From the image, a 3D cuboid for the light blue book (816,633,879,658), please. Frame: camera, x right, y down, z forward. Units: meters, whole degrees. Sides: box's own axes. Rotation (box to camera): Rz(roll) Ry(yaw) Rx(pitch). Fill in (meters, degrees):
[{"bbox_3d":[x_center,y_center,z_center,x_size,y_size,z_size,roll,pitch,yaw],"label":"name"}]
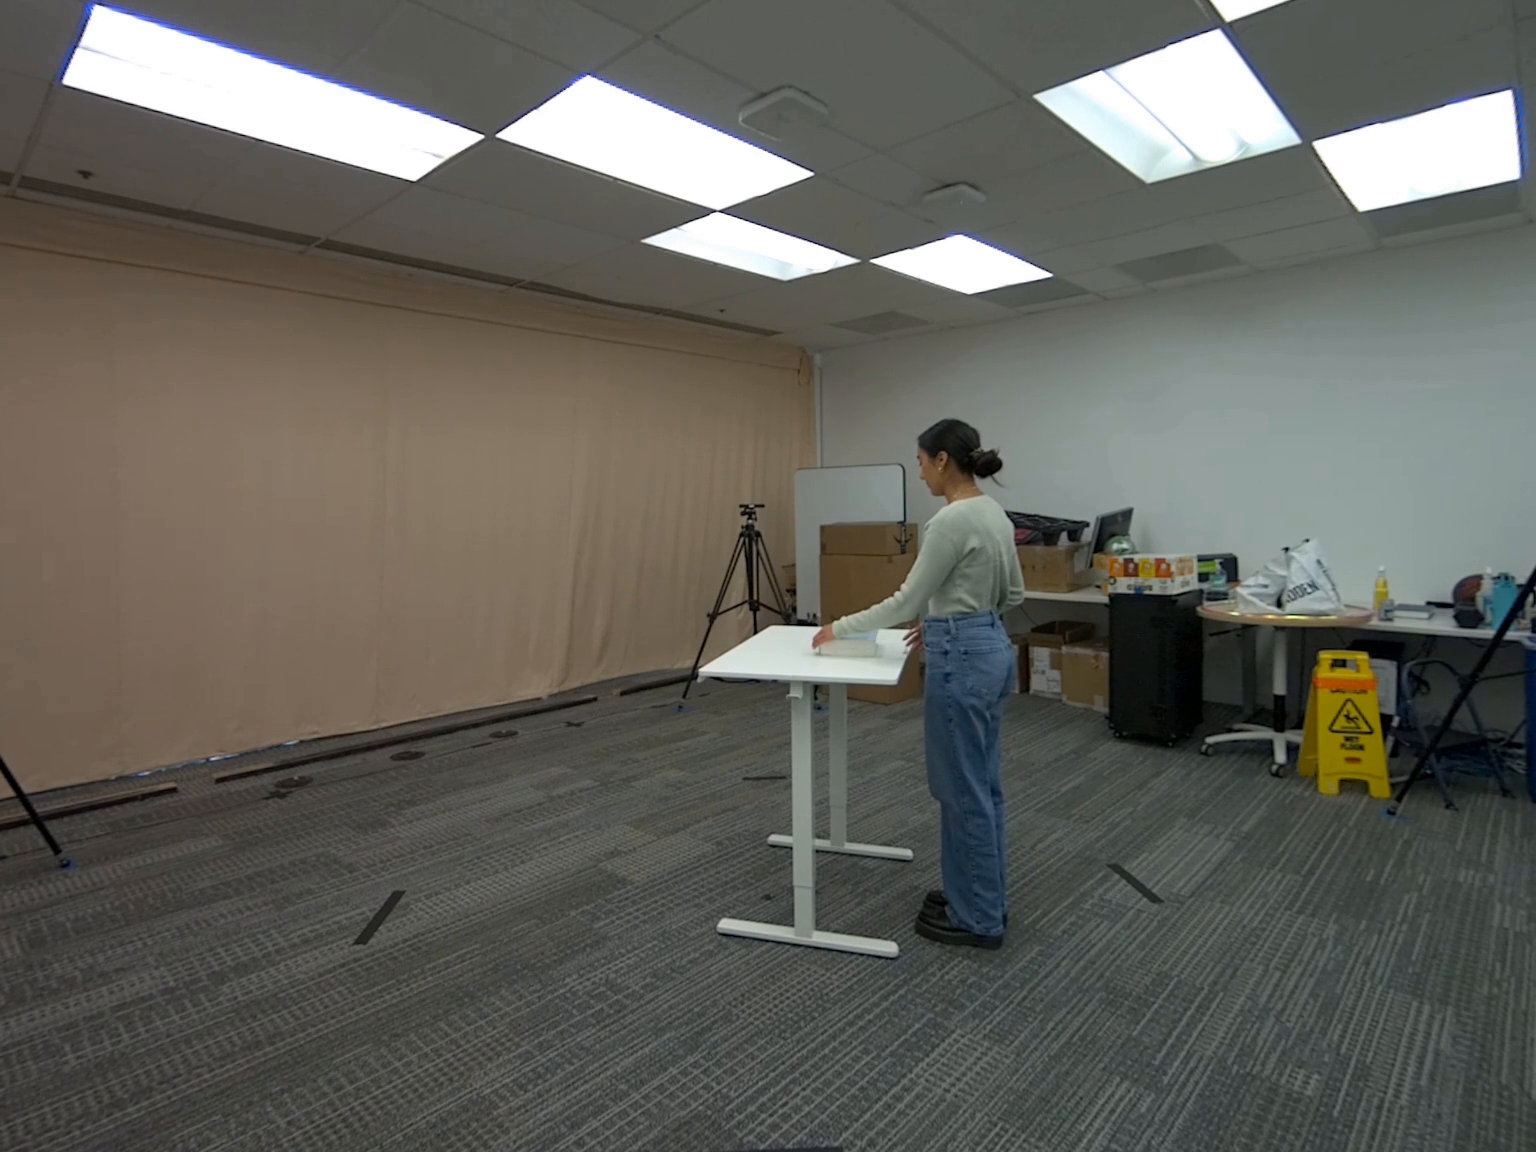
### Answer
[{"bbox_3d":[0.297,0.230,2.925,0.193,0.059,0.259,0,6,7],"label":"light blue book"}]
